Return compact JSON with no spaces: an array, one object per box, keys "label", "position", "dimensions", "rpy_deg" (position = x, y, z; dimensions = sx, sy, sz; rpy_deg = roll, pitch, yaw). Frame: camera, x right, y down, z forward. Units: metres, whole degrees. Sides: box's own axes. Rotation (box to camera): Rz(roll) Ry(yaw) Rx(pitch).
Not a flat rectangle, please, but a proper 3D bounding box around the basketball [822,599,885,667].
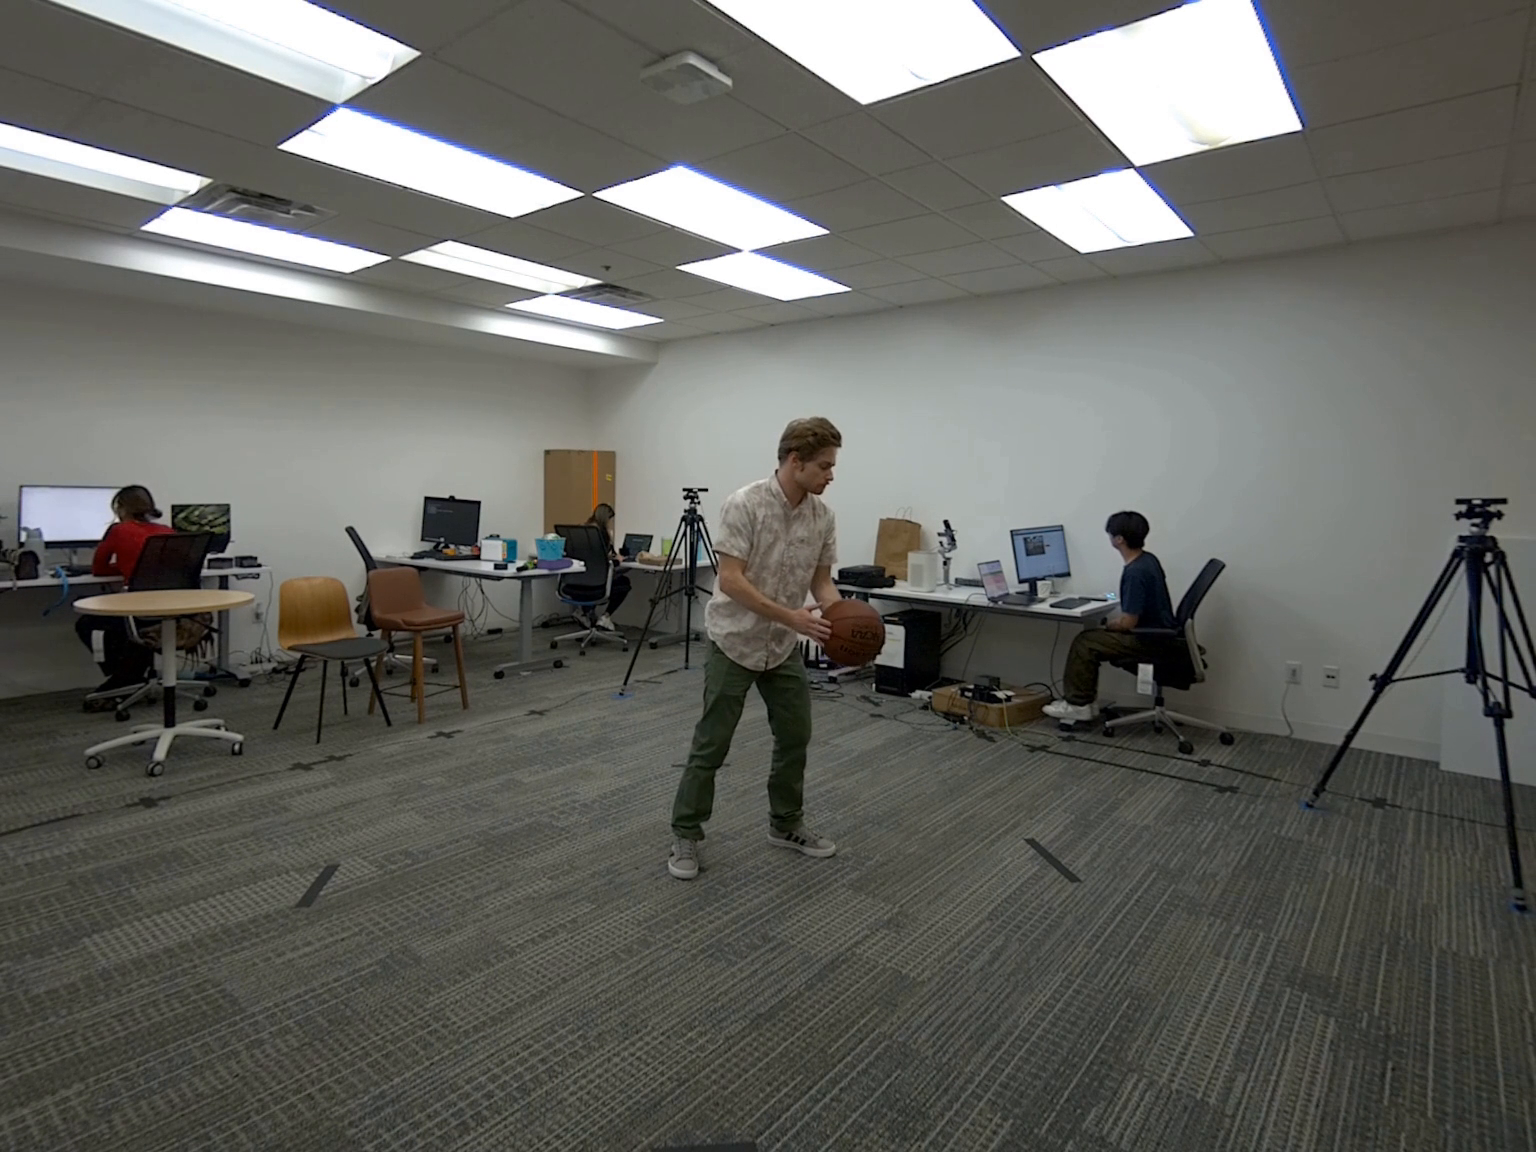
[{"label":"basketball","position":[0.278,0.197,2.981],"dimensions":[0.236,0.235,0.237],"rpy_deg":[1,4,-2]}]
